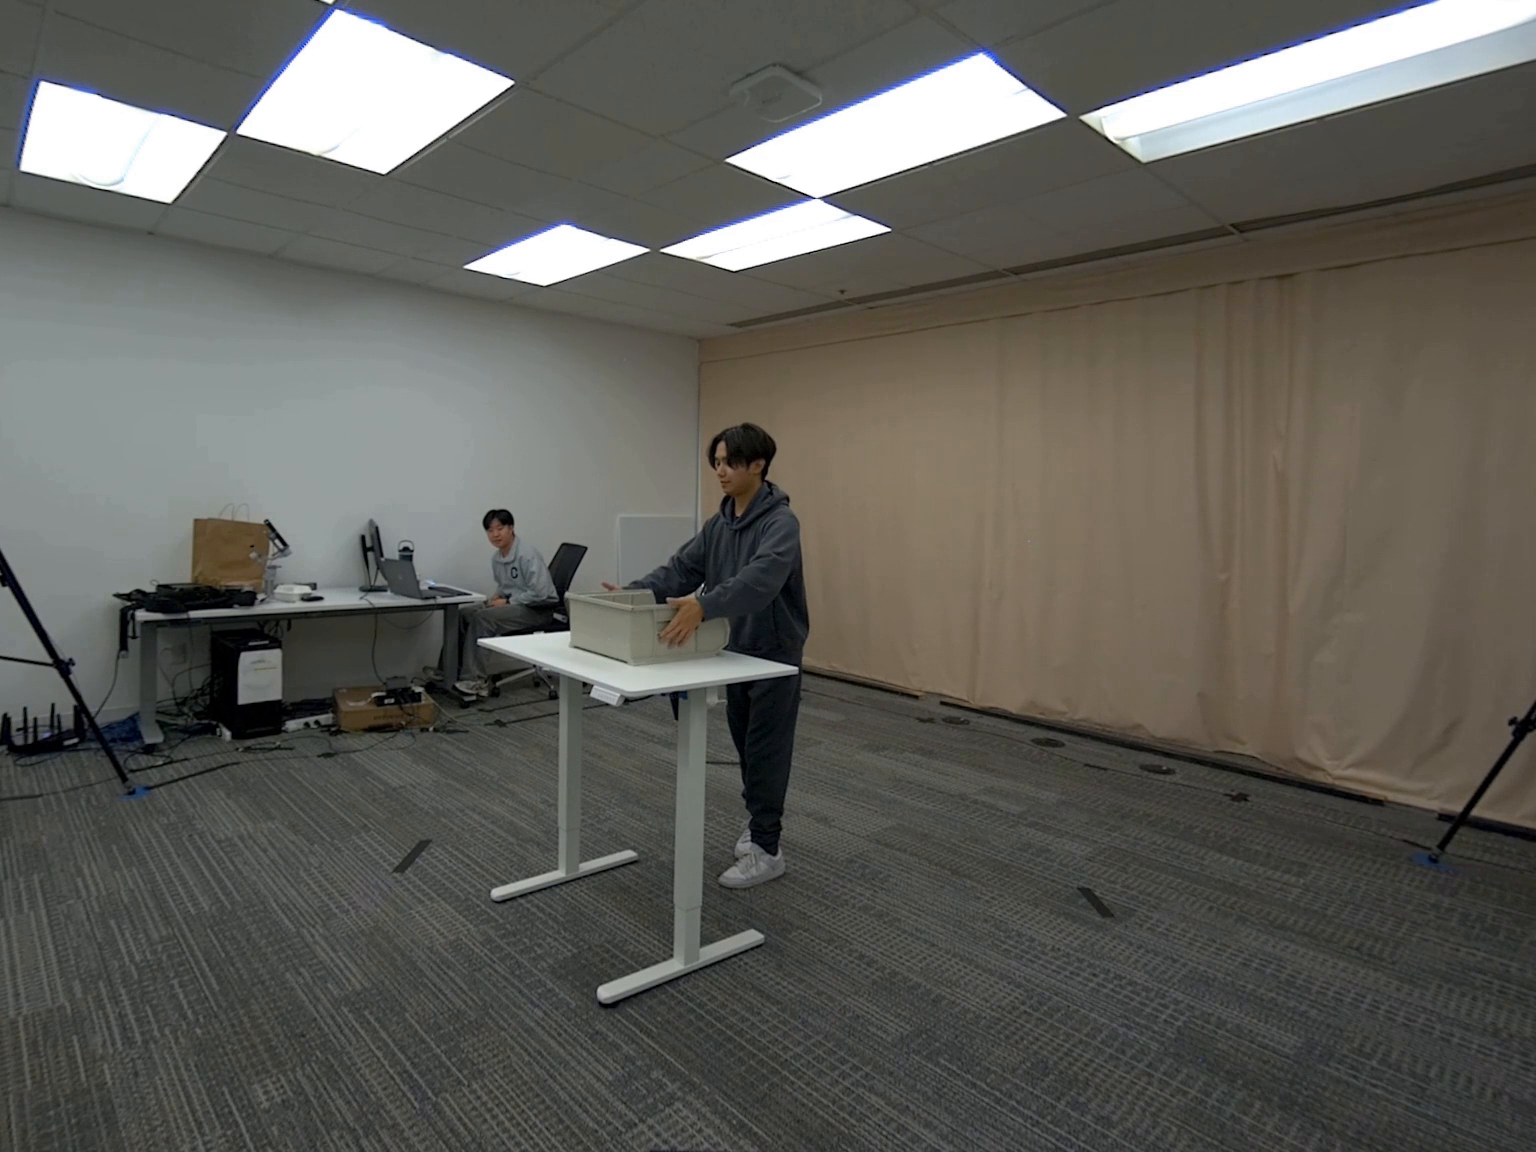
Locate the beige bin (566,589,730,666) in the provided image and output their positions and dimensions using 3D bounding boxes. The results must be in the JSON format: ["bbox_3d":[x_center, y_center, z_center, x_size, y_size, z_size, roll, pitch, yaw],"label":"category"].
[{"bbox_3d":[-0.410,0.164,2.757,0.369,0.188,0.433,-3,7,-40],"label":"beige bin"}]
